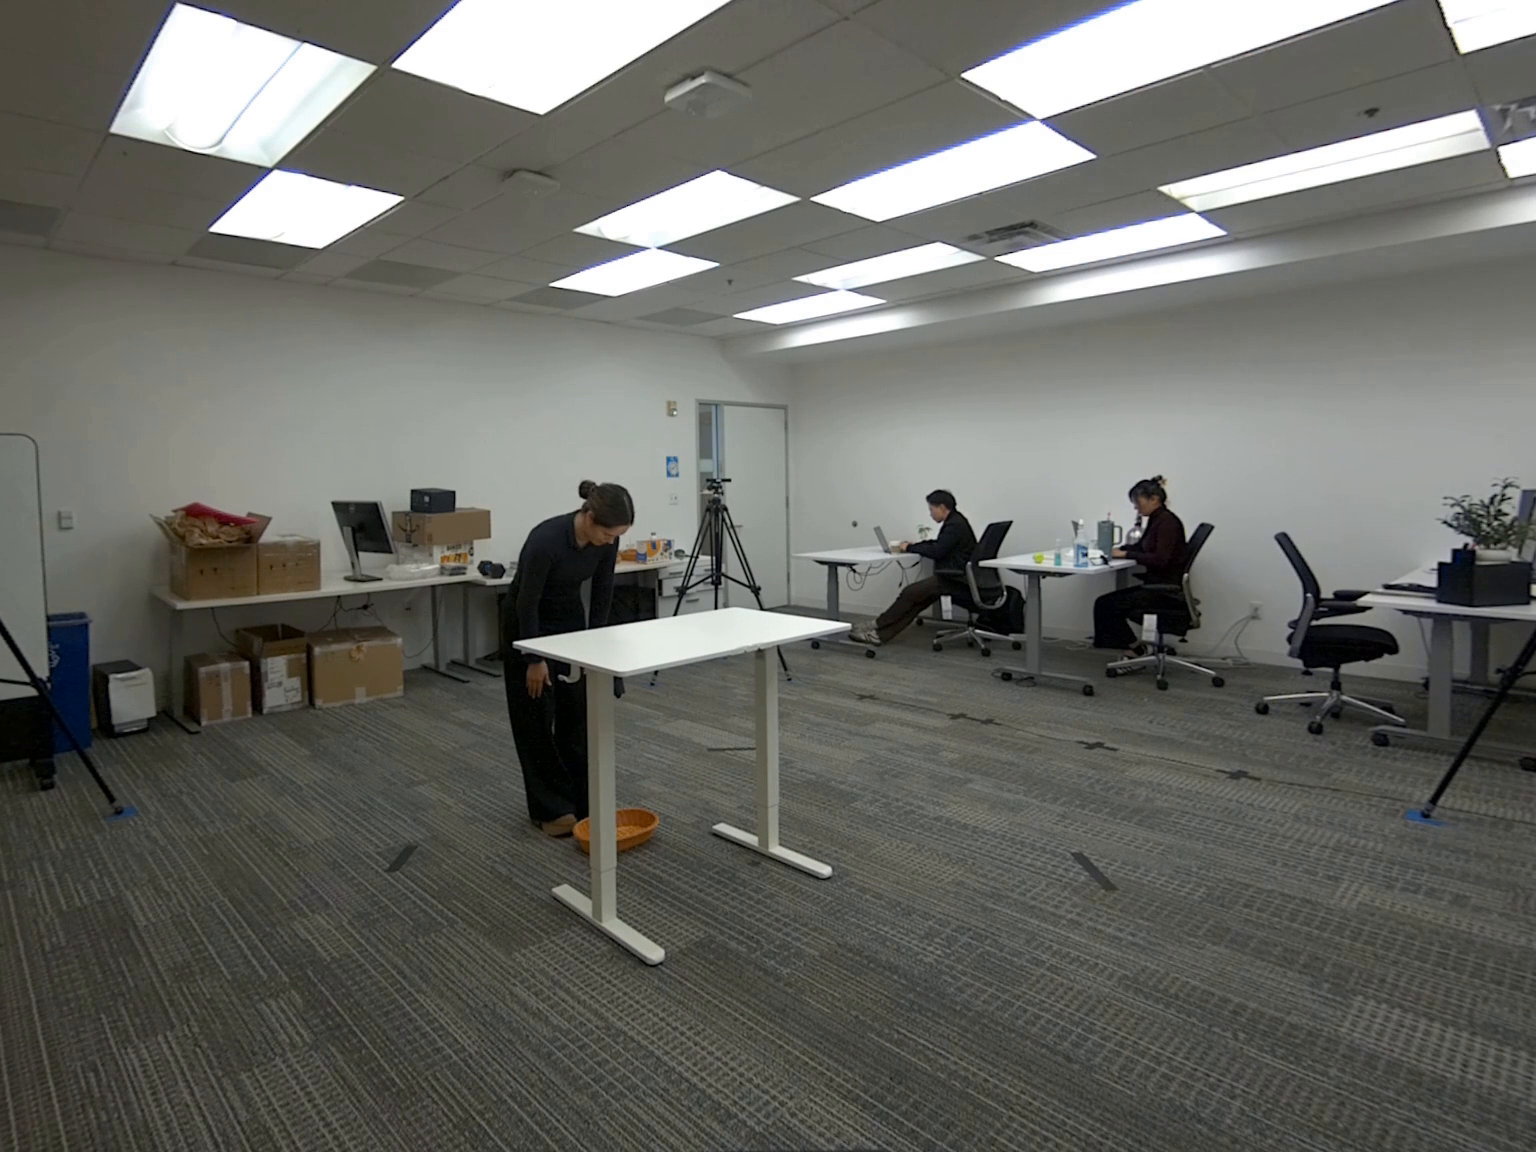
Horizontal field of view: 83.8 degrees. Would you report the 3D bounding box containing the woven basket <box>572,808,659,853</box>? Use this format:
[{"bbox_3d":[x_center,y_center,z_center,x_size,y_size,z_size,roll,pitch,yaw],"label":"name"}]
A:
[{"bbox_3d":[-0.584,0.986,3.304,0.341,0.073,0.260,-7,9,-41],"label":"woven basket"}]
